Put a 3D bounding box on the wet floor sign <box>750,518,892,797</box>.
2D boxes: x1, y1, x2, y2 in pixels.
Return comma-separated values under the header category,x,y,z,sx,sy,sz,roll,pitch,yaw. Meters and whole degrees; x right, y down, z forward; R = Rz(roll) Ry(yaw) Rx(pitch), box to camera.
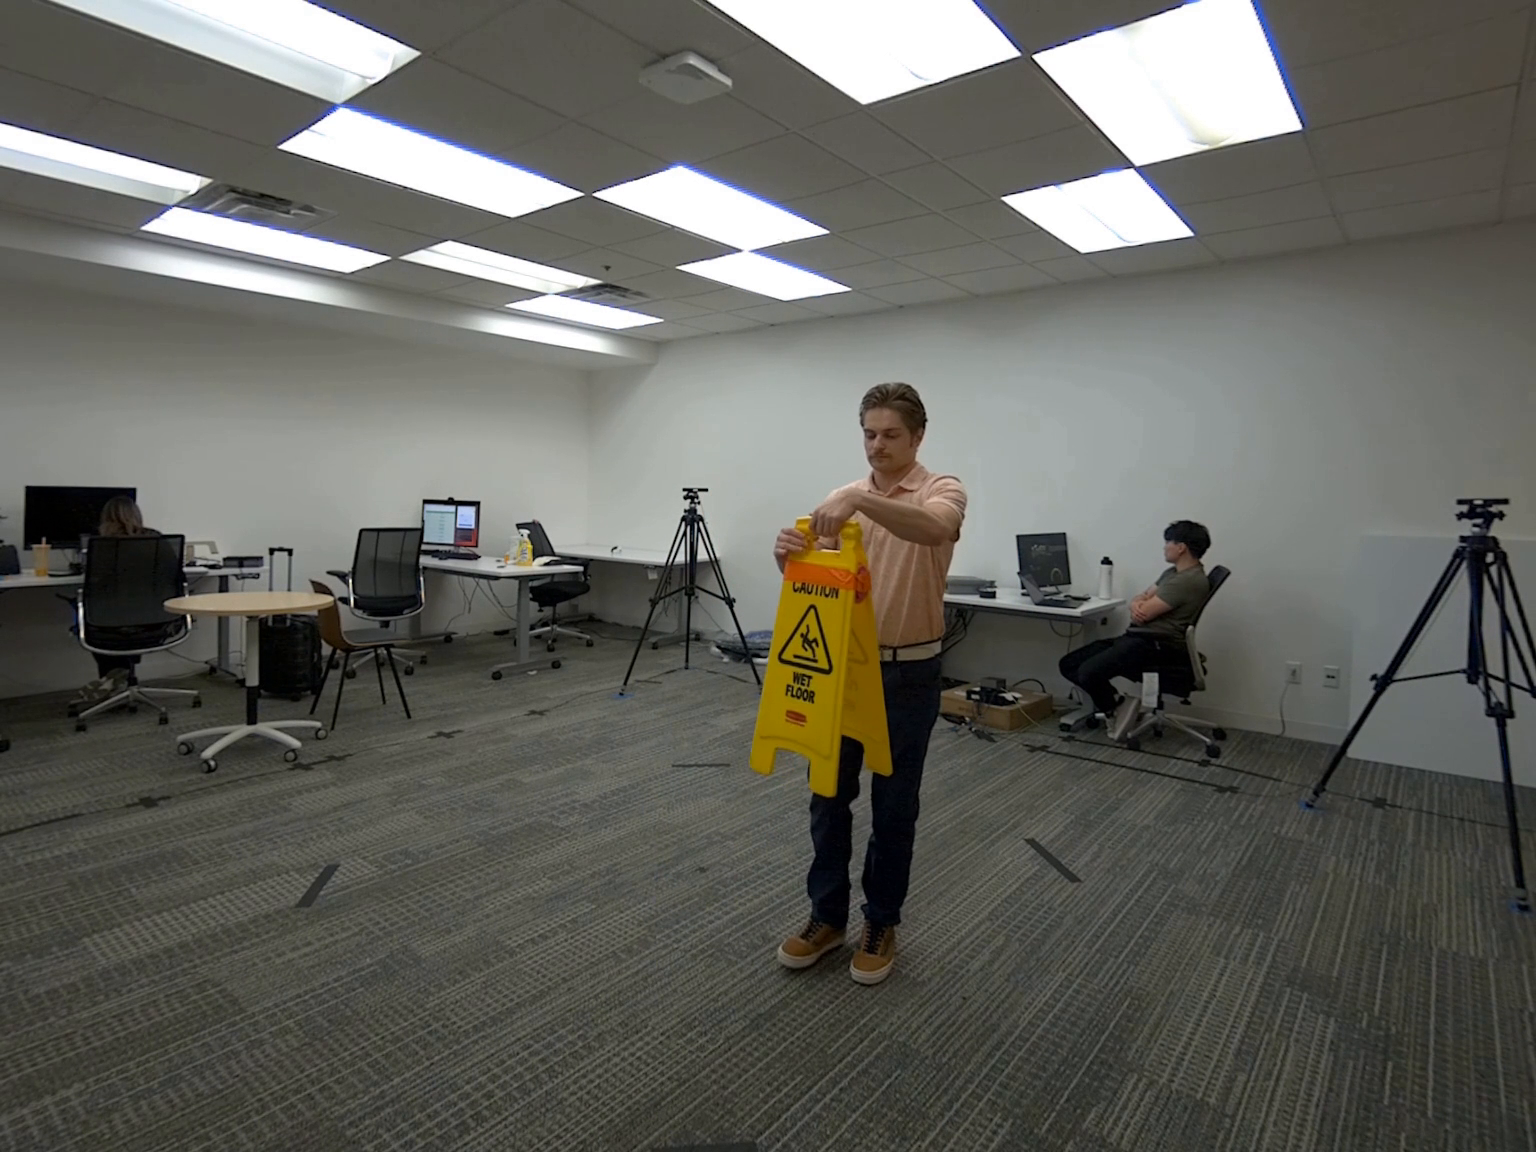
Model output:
category,x,y,z,sx,sy,sz,roll,pitch,yaw
wet floor sign,0.131,0.177,2.155,0.292,0.644,0.281,4,4,44
